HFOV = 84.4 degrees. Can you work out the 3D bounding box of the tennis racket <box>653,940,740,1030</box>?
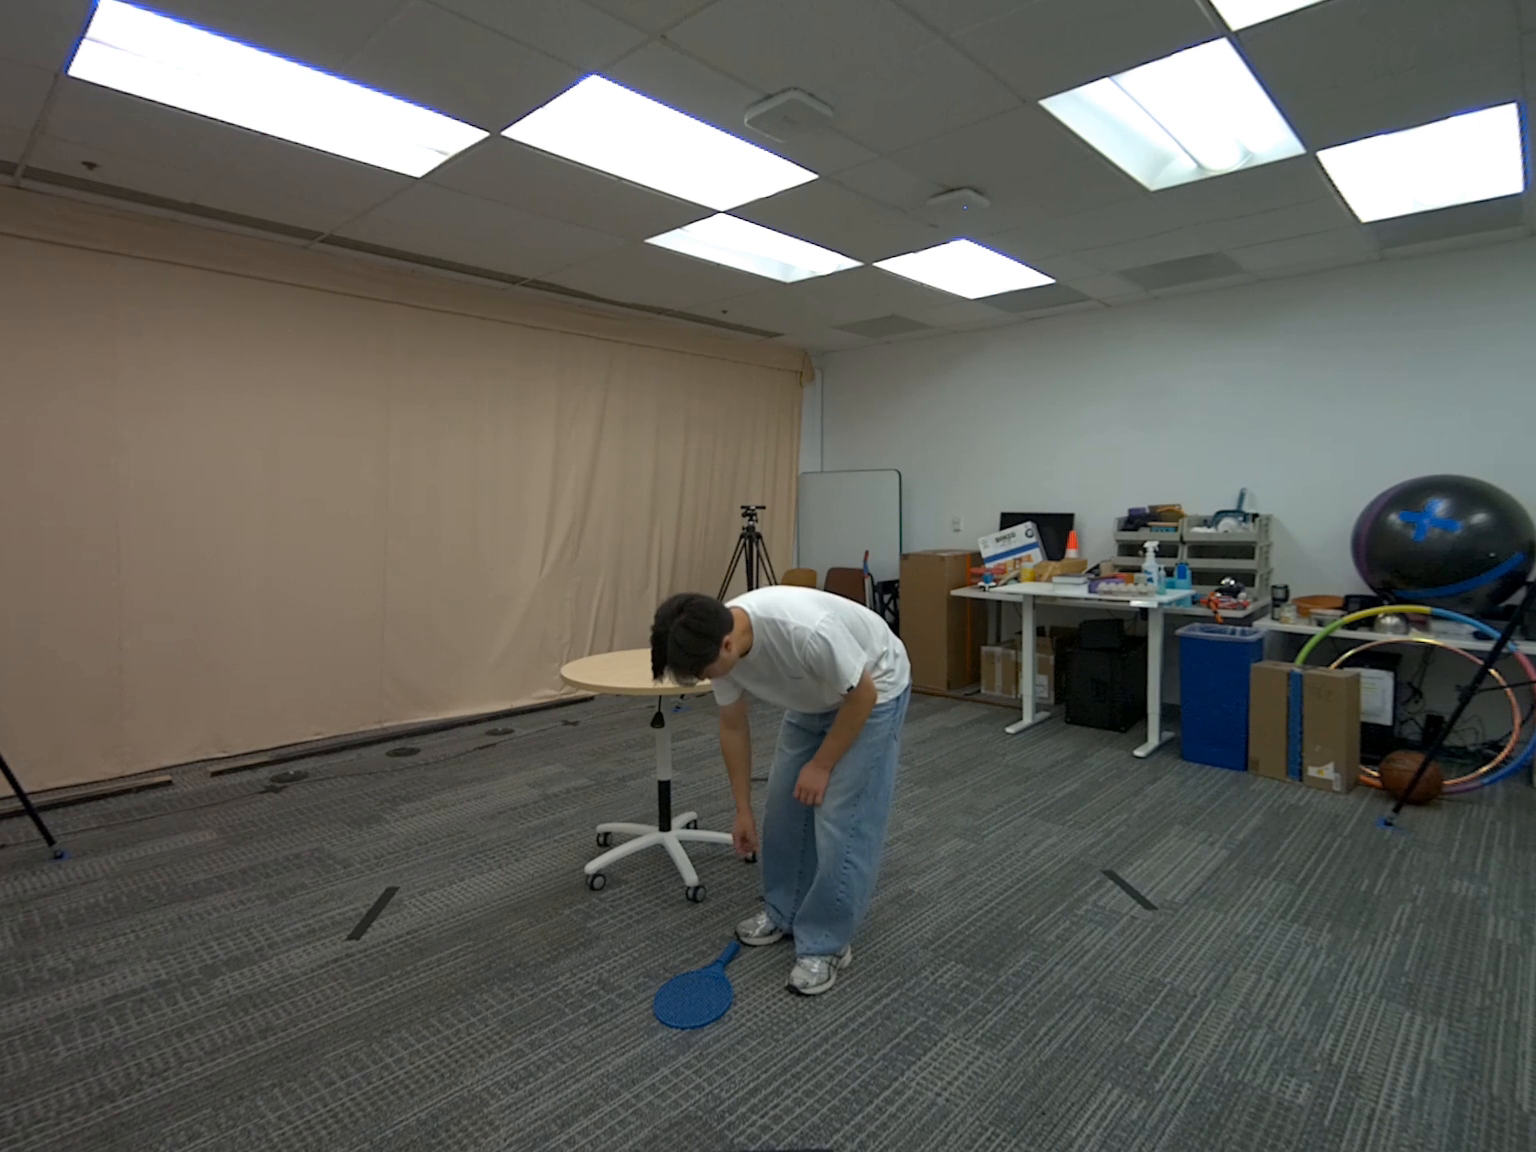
[{"bbox_3d":[-0.176,1.179,2.441,0.219,0.031,0.424,2,7,23],"label":"tennis racket"}]
